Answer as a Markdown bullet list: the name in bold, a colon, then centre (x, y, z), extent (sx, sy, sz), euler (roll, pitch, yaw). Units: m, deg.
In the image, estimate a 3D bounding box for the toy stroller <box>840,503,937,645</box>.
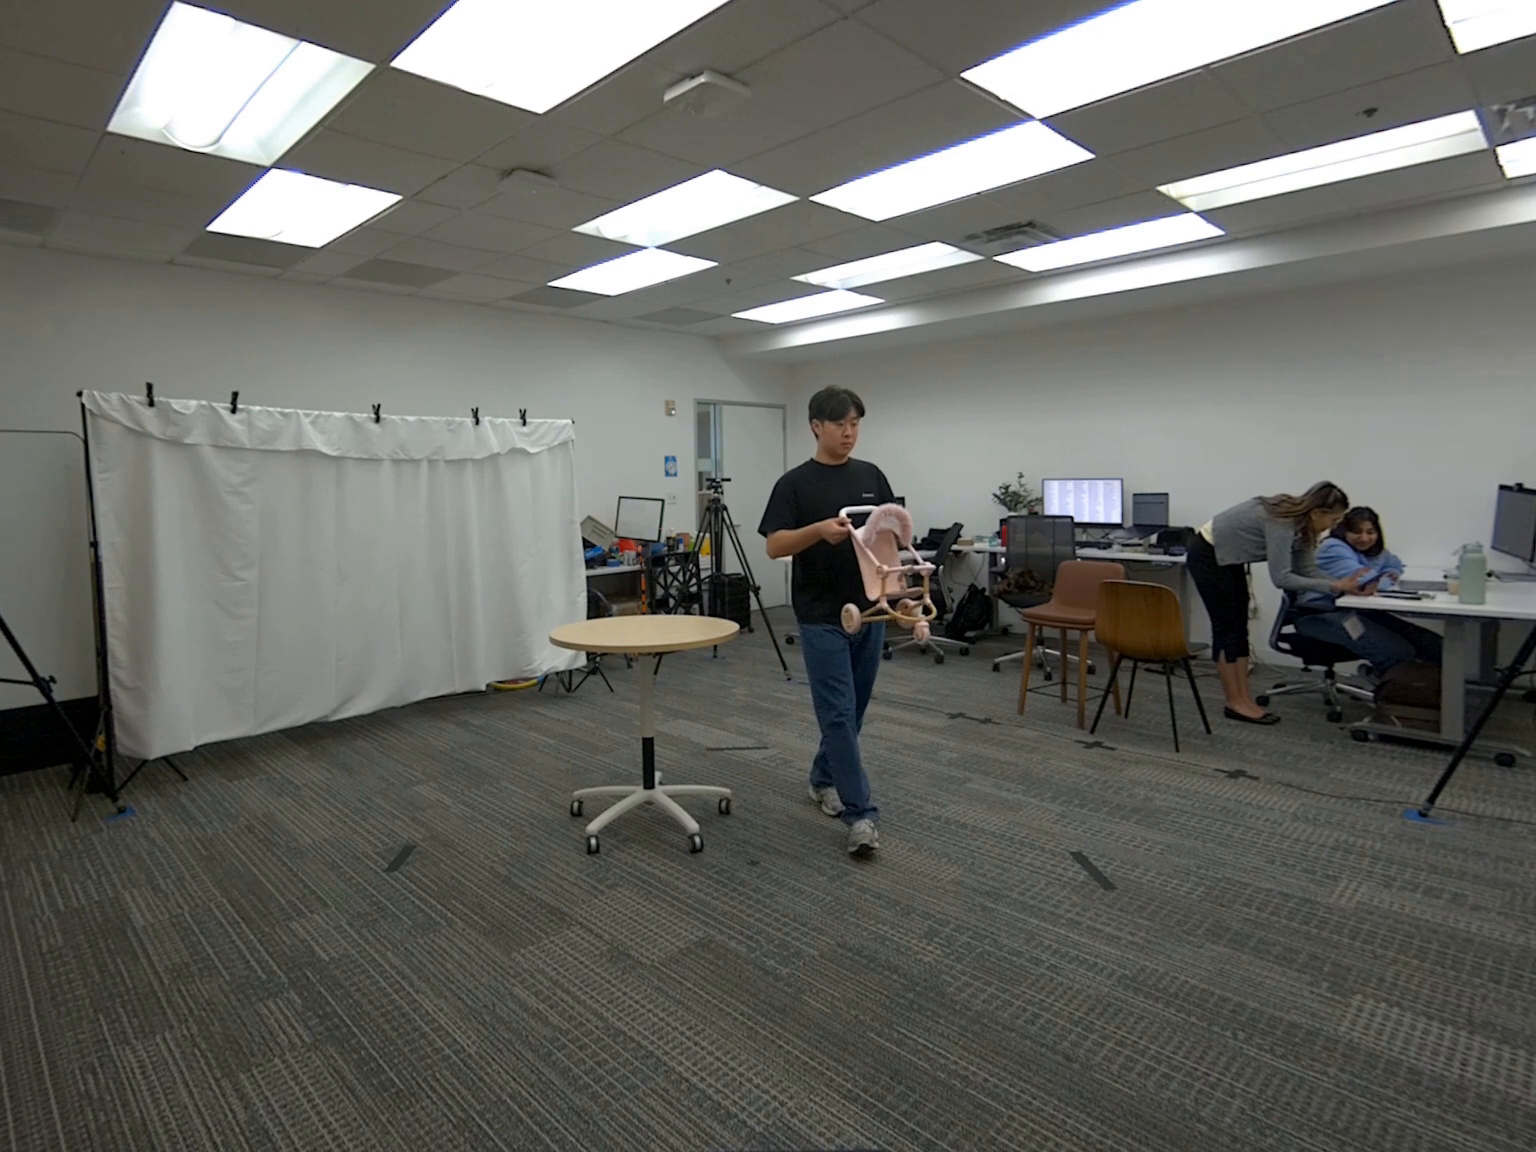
- **toy stroller**: centre (0.430, -0.017, 3.053), extent (0.276, 0.539, 0.345), euler (-2, -8, -22)
